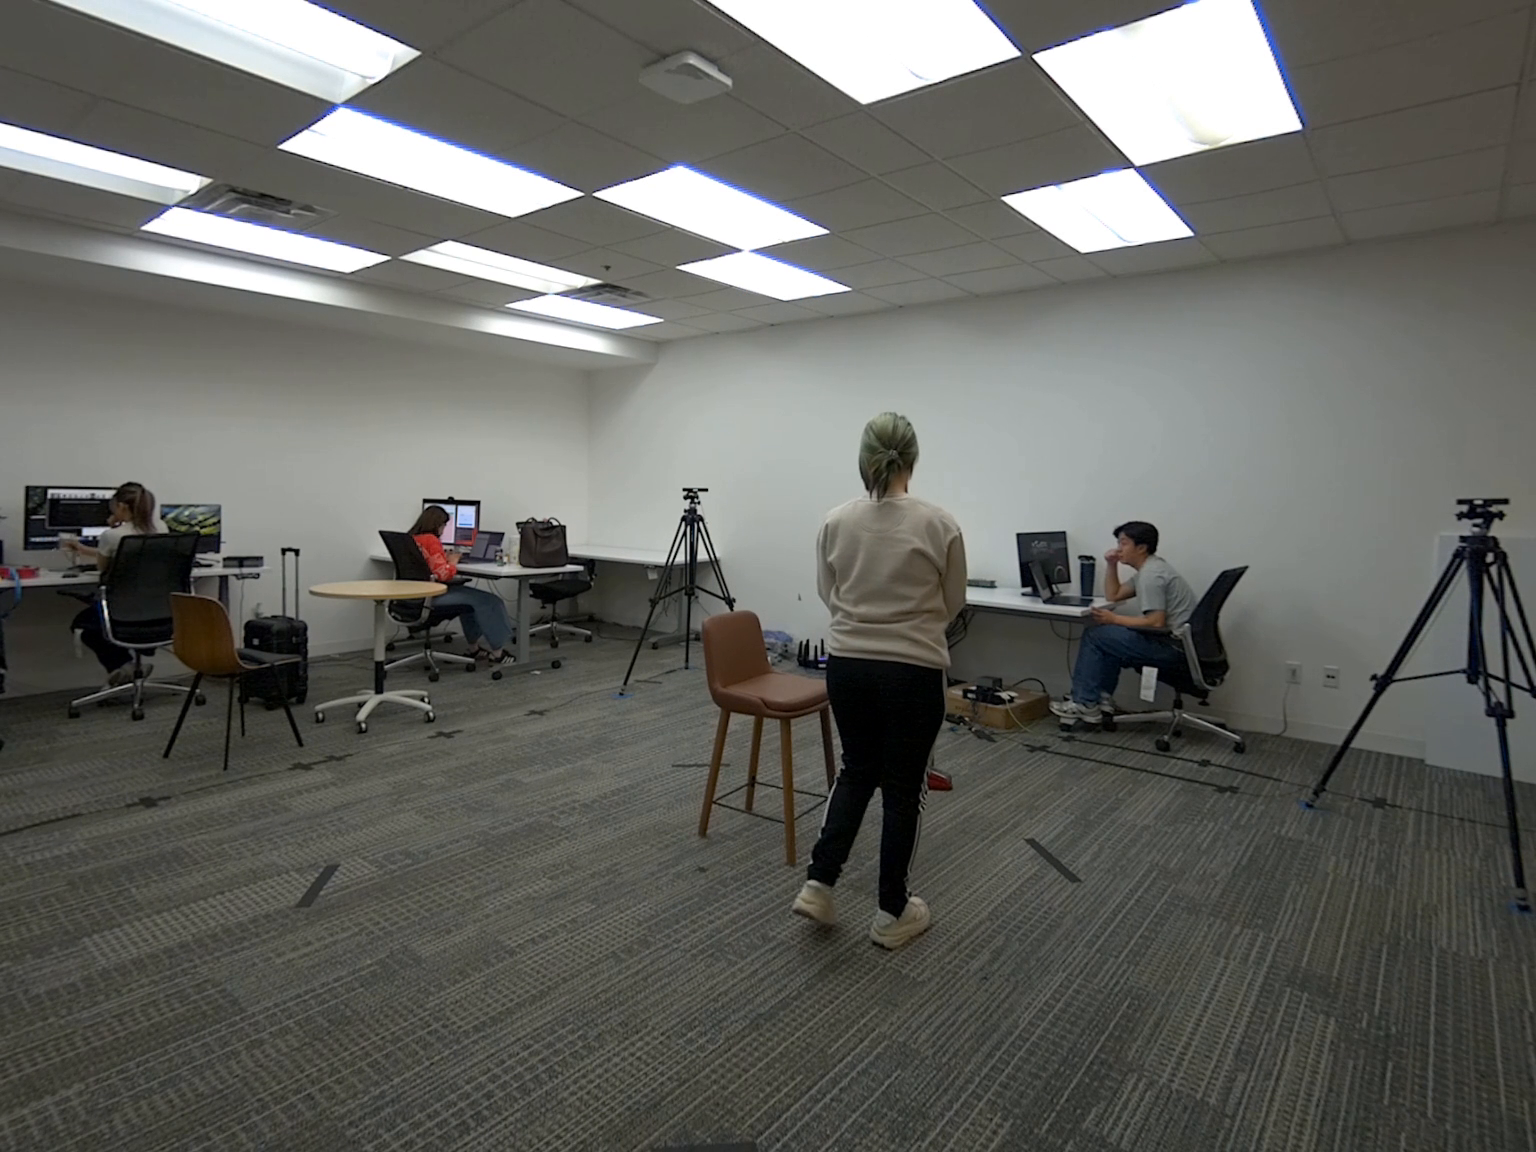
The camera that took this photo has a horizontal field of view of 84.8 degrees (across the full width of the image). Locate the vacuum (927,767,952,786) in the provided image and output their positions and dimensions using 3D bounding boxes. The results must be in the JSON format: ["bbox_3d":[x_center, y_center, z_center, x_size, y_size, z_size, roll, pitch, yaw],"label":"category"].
[{"bbox_3d":[0.484,0.143,2.950,0.260,1.053,0.139,-2,-4,31],"label":"vacuum"}]
